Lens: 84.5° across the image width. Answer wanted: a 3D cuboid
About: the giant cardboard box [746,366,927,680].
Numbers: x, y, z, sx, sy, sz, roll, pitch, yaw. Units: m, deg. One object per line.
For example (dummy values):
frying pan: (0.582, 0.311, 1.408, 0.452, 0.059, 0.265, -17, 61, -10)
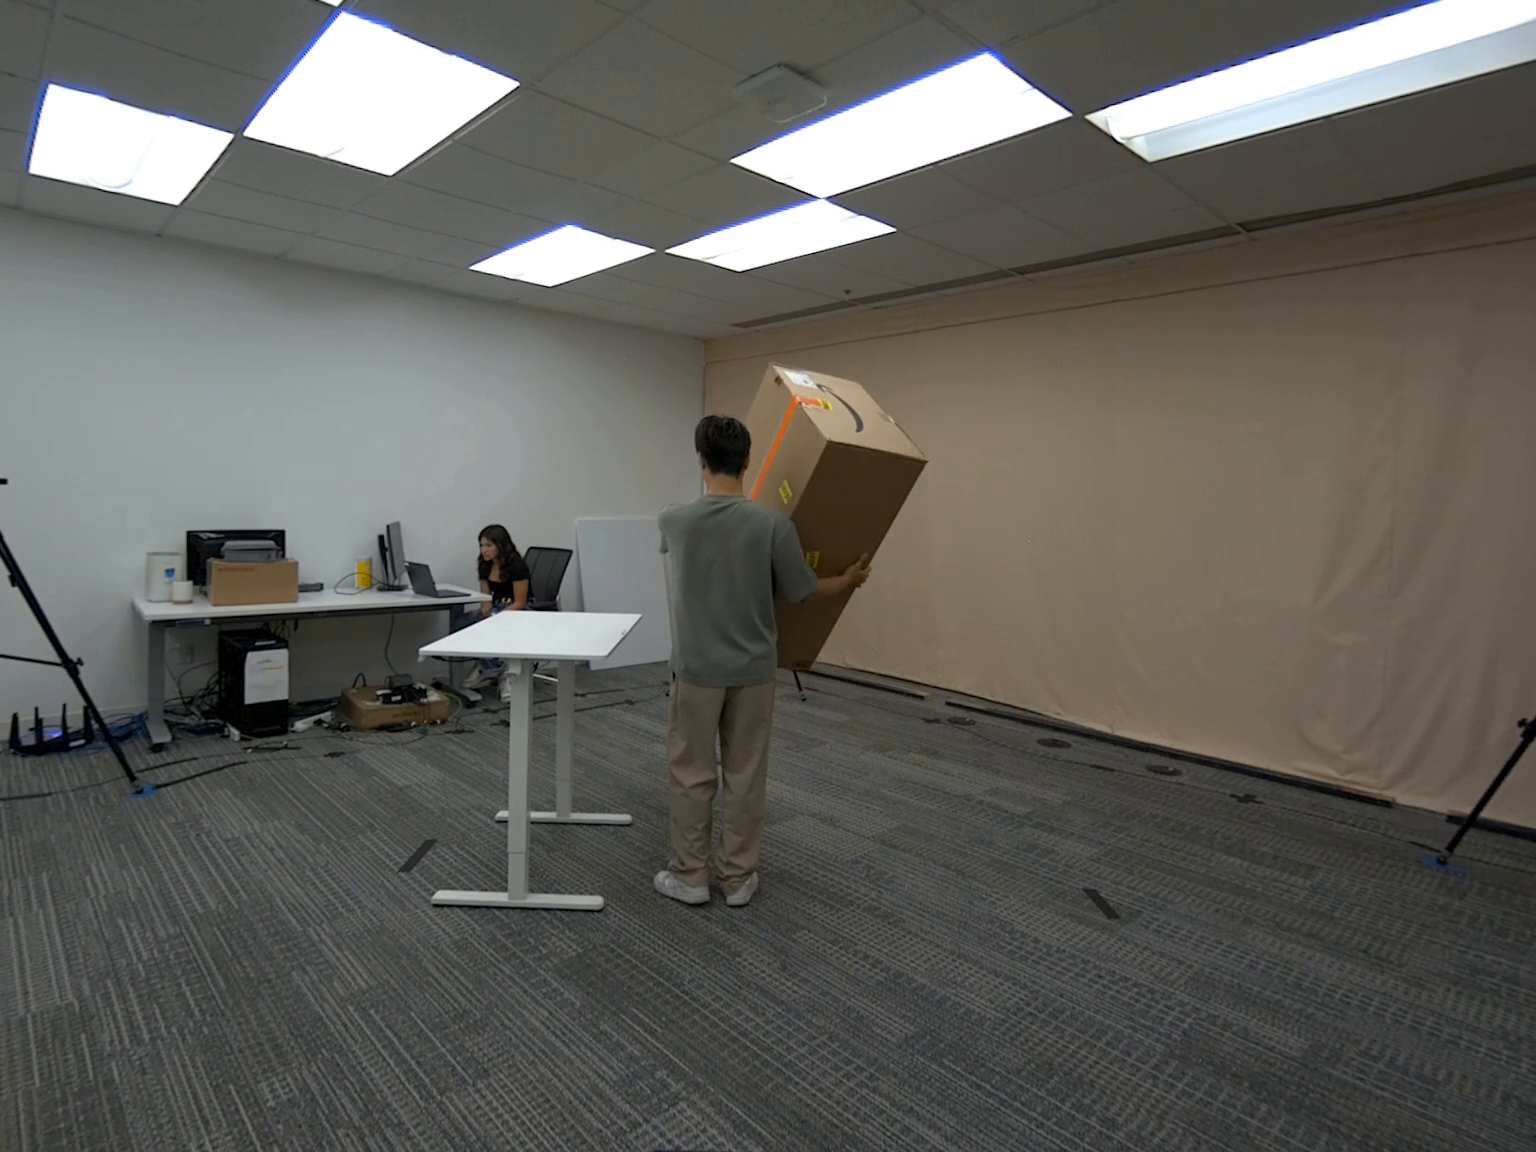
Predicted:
giant cardboard box: (0.072, -0.210, 3.272, 0.417, 1.017, 0.595, 7, 35, -30)
